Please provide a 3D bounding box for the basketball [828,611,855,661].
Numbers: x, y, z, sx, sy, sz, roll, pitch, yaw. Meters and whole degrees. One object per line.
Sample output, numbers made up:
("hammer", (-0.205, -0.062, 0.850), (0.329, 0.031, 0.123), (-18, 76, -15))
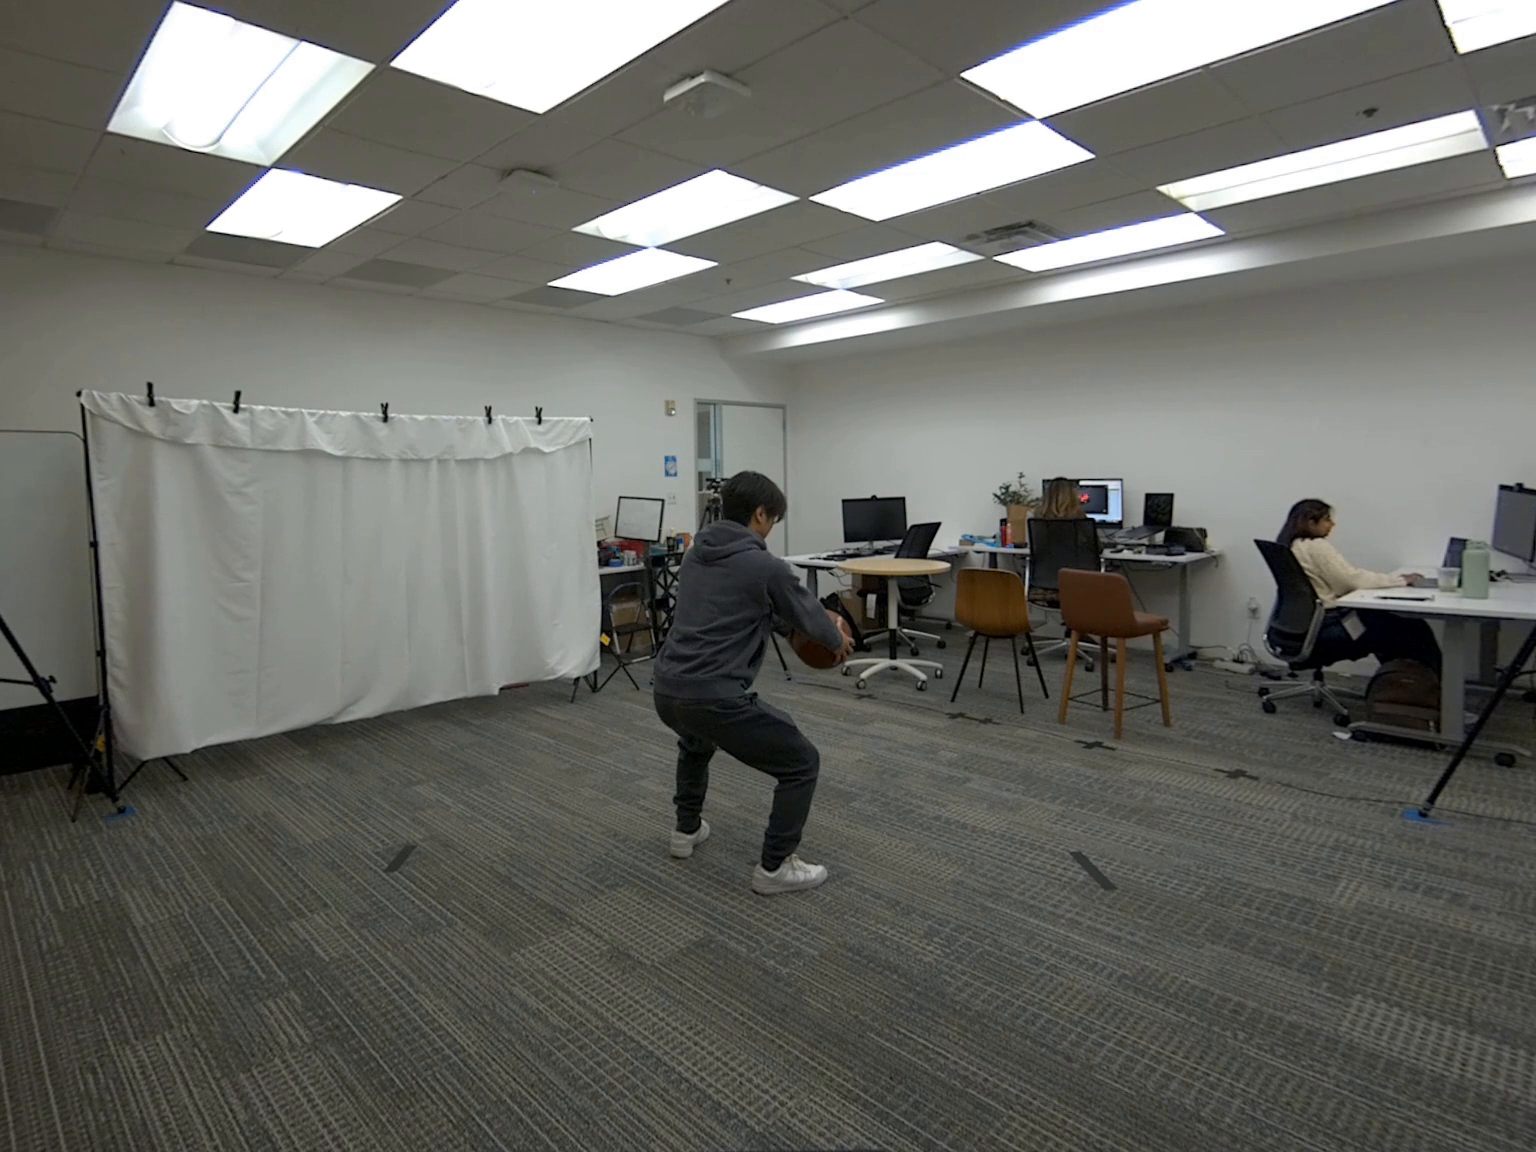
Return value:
("basketball", (0.222, 0.254, 3.413), (0.236, 0.235, 0.237), (-1, 5, -2))
